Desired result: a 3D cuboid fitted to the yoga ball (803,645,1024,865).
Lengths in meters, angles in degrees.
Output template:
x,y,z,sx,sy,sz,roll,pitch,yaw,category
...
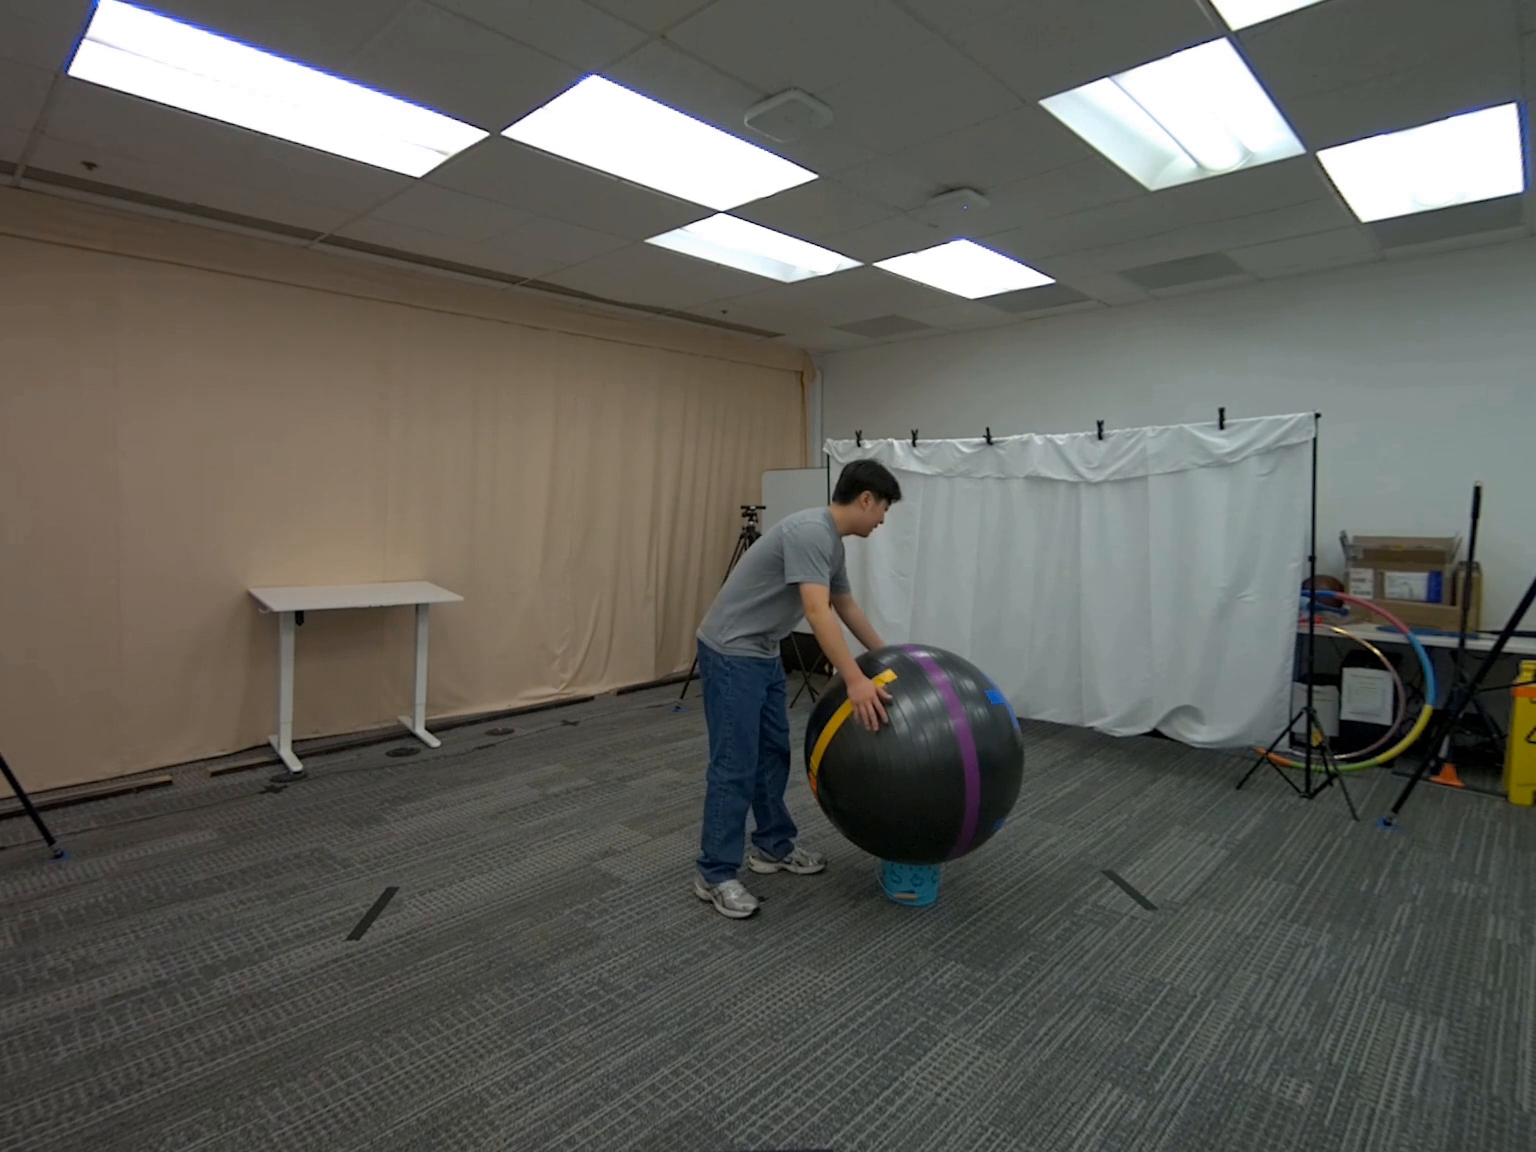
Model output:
x,y,z,sx,sy,sz,roll,pitch,yaw,category
0.518,0.632,2.995,0.757,0.756,0.761,0,4,-2,yoga ball
